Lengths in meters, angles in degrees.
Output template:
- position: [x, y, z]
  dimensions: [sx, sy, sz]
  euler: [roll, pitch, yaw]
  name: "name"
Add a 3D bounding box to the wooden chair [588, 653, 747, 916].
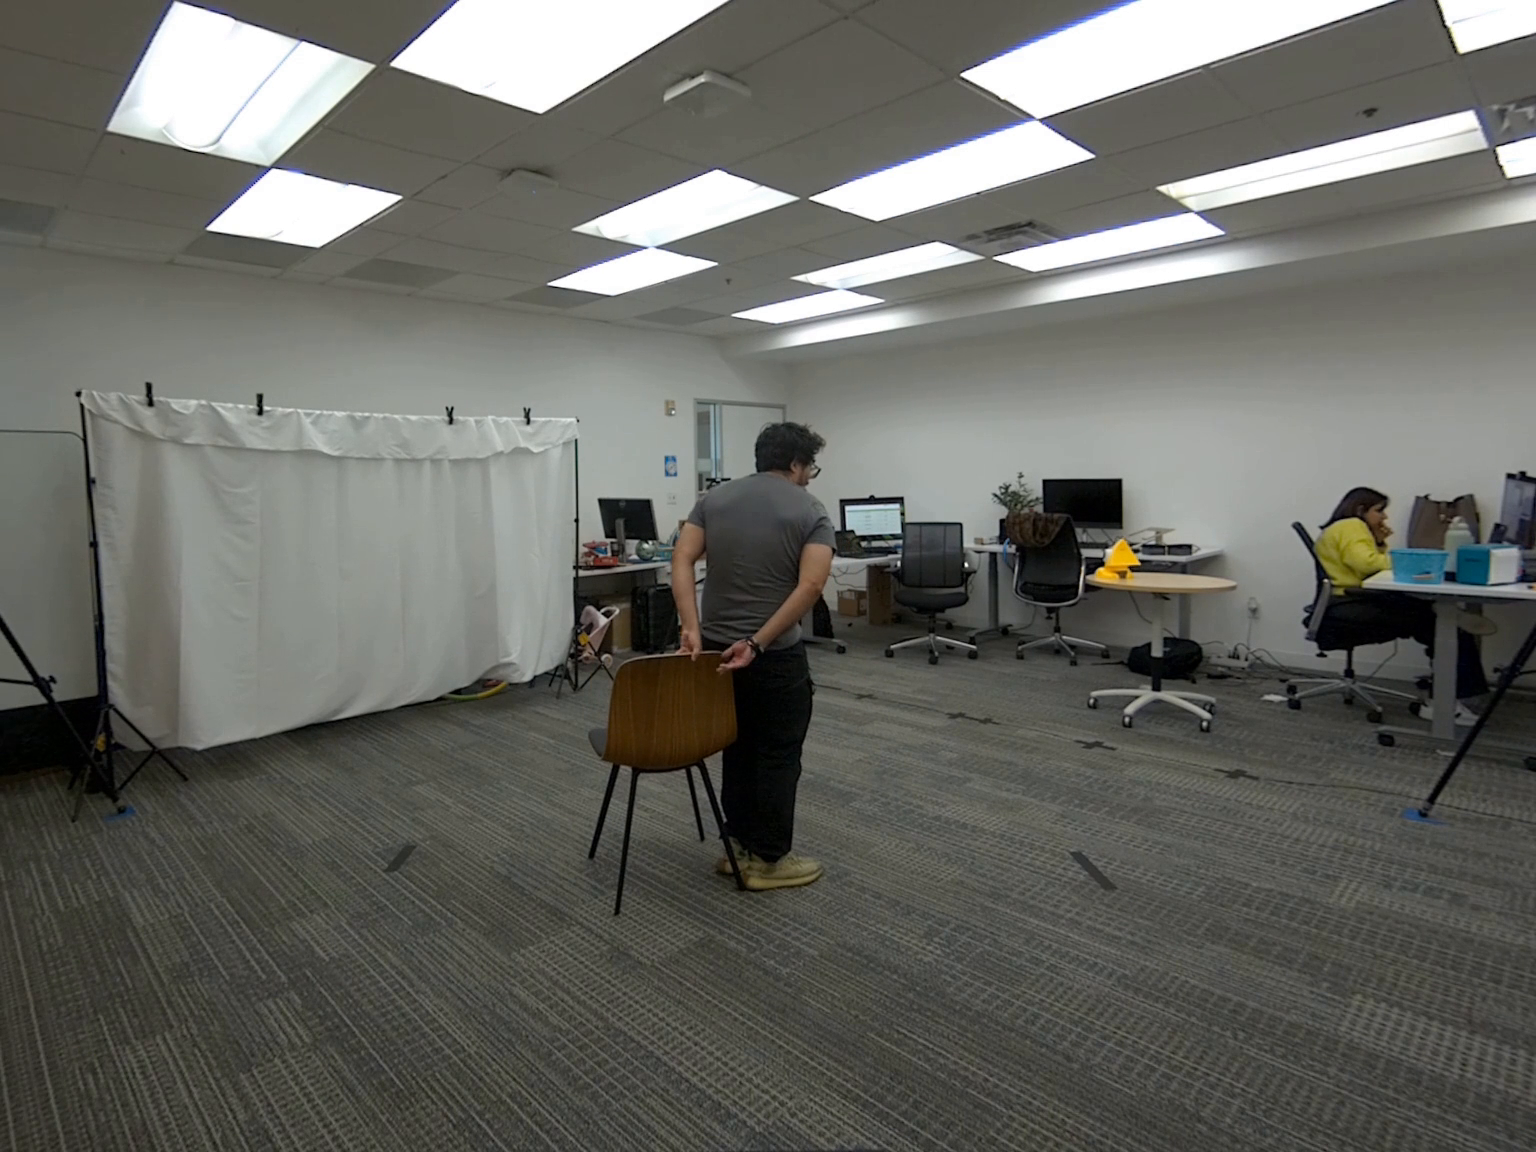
- position: [-0.384, 0.635, 3.003]
  dimensions: [0.470, 0.871, 0.536]
  euler: [-3, 9, -21]
  name: "wooden chair"
